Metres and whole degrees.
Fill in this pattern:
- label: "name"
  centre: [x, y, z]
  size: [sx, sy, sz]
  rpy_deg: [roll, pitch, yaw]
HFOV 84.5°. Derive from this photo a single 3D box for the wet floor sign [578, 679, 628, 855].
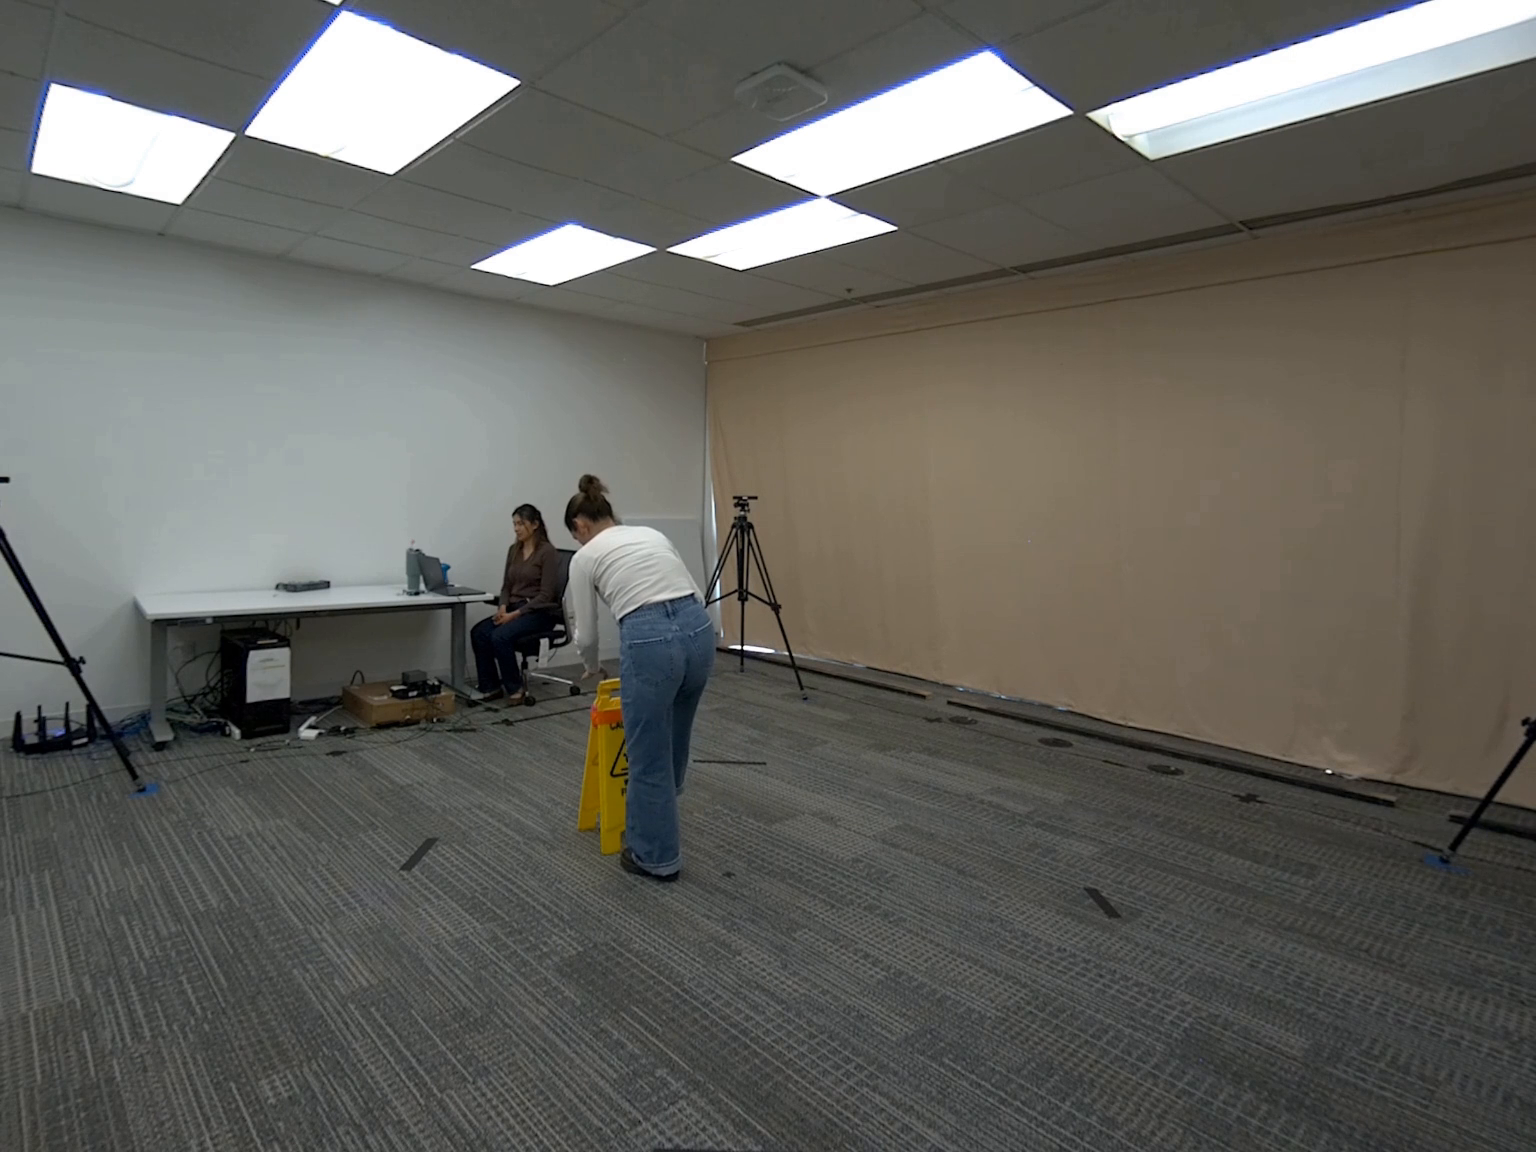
- label: "wet floor sign"
  centre: [-0.604, 0.740, 3.415]
  size: [0.276, 0.644, 0.296]
  rpy_deg: [-3, 5, -32]
